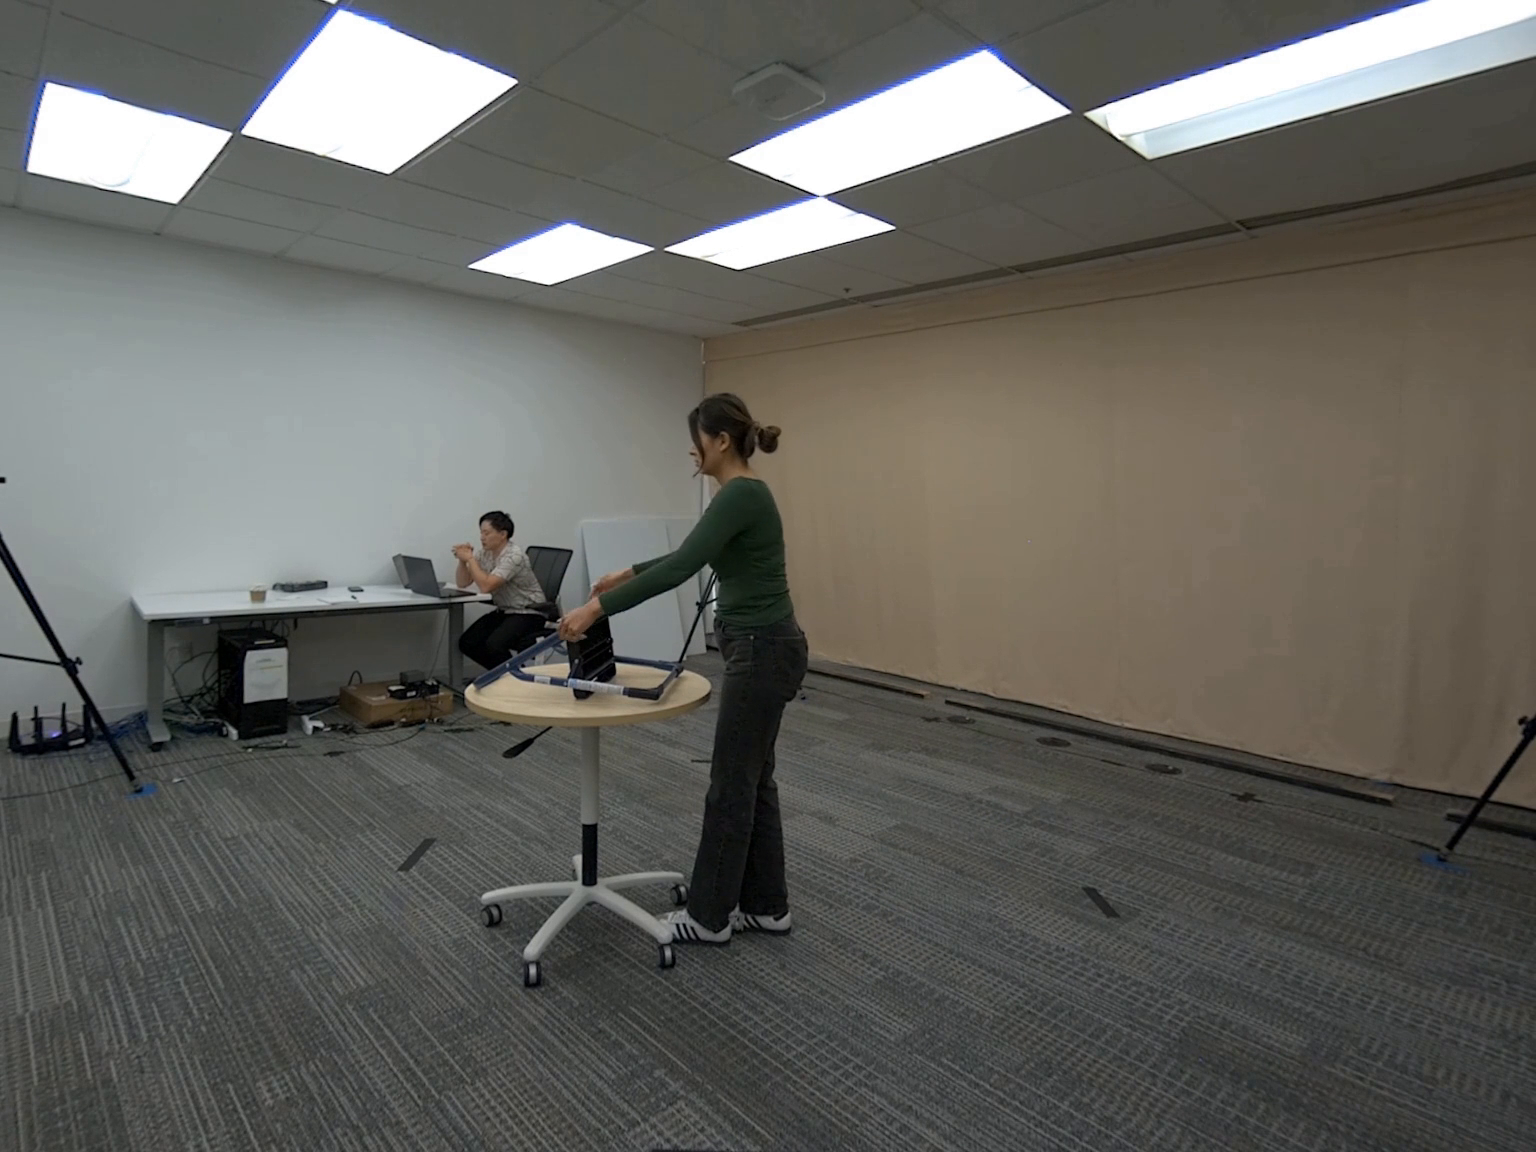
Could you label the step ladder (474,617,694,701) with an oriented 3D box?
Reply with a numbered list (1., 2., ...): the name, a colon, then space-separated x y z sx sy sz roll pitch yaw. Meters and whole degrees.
1. step ladder: -0.623 0.219 2.672 0.609 0.349 0.429 -9 3 7
